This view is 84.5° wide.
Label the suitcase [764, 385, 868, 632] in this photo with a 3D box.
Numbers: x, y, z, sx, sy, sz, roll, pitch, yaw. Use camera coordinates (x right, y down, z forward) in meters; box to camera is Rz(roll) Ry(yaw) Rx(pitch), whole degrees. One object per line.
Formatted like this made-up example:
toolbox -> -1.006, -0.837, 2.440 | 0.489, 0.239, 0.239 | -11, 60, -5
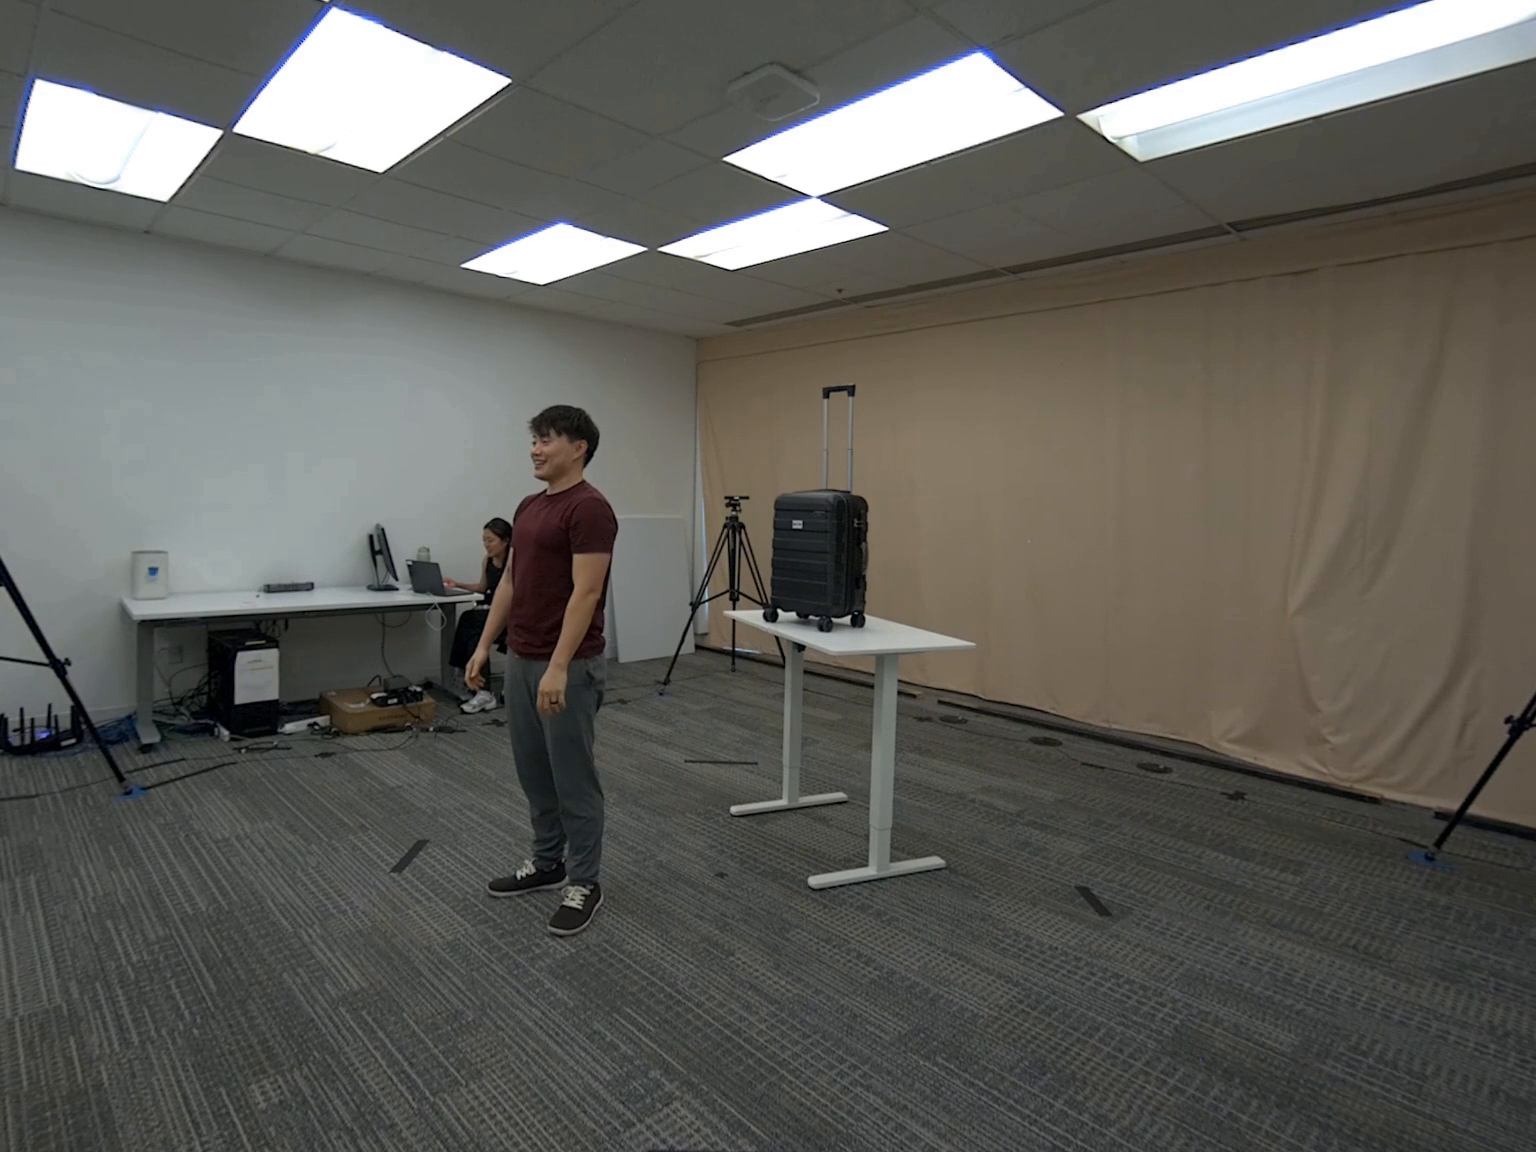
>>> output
suitcase -> 0.208, -0.281, 3.421 | 0.251, 0.976, 0.394 | -2, 5, -45
